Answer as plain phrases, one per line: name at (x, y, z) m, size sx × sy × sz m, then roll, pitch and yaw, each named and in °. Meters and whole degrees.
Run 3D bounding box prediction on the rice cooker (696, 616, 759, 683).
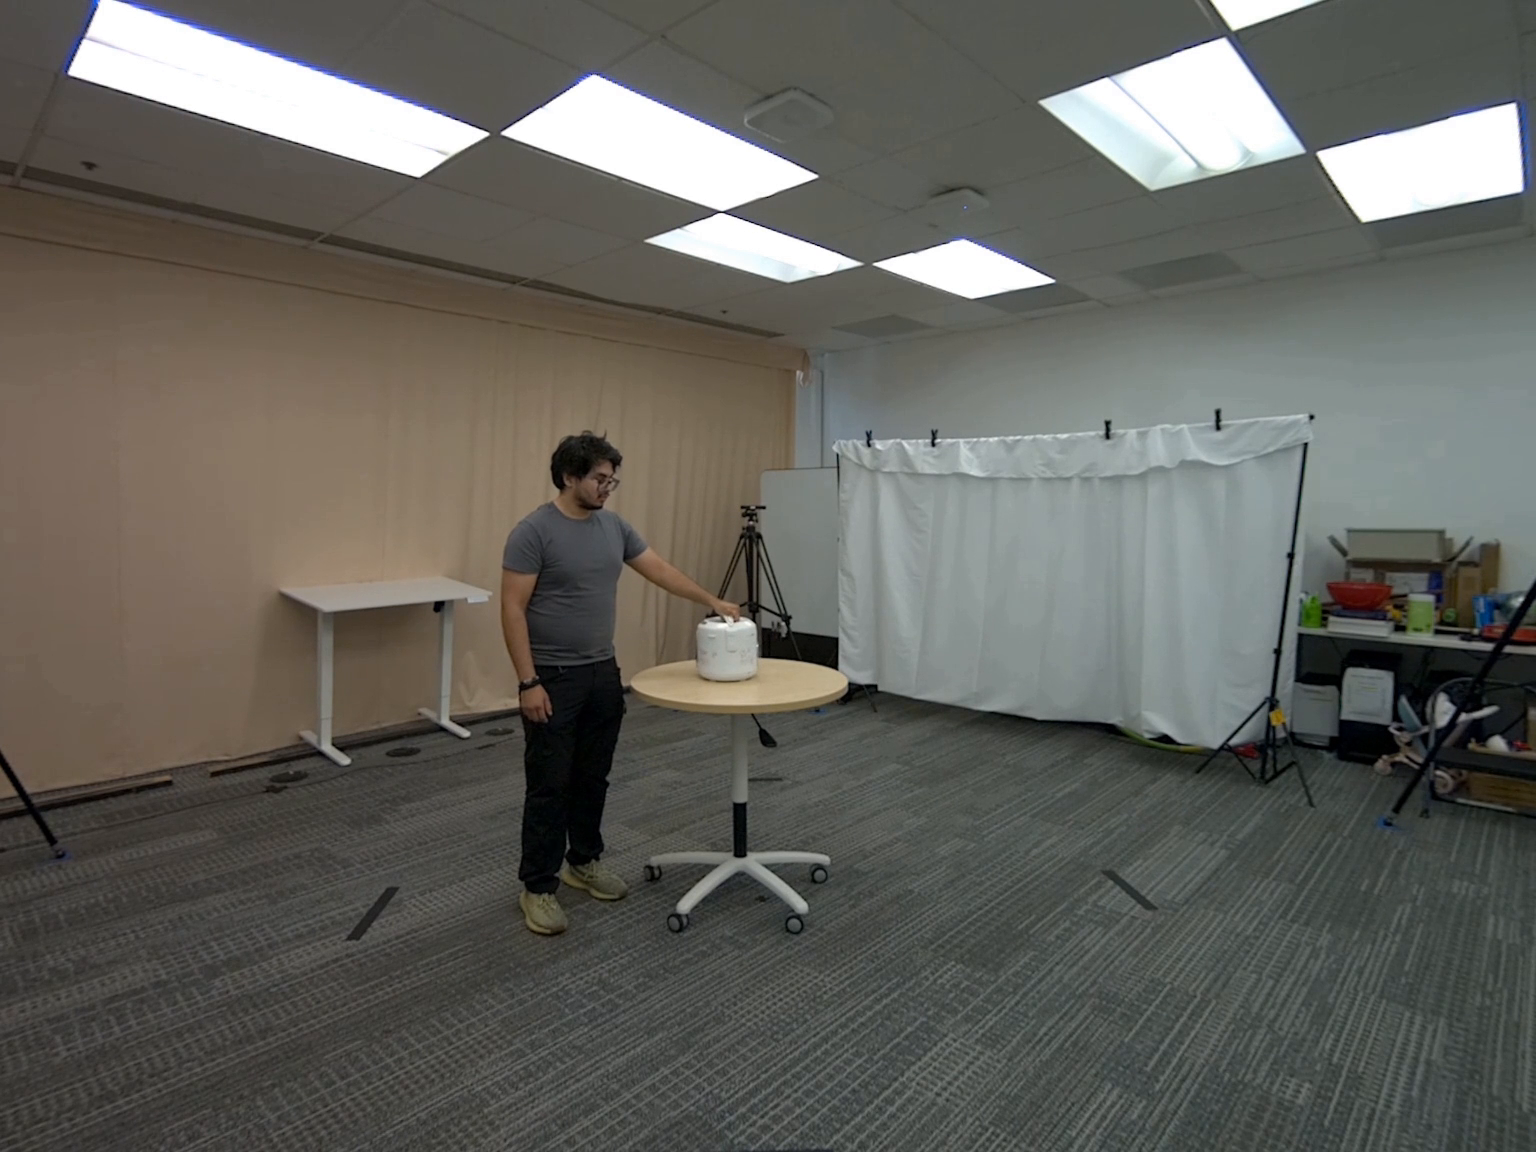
rice cooker at (-0.145, 0.247, 2.995) m, size 0.215 × 0.232 × 0.224 m, roll -1°, pitch 5°, yaw -11°
